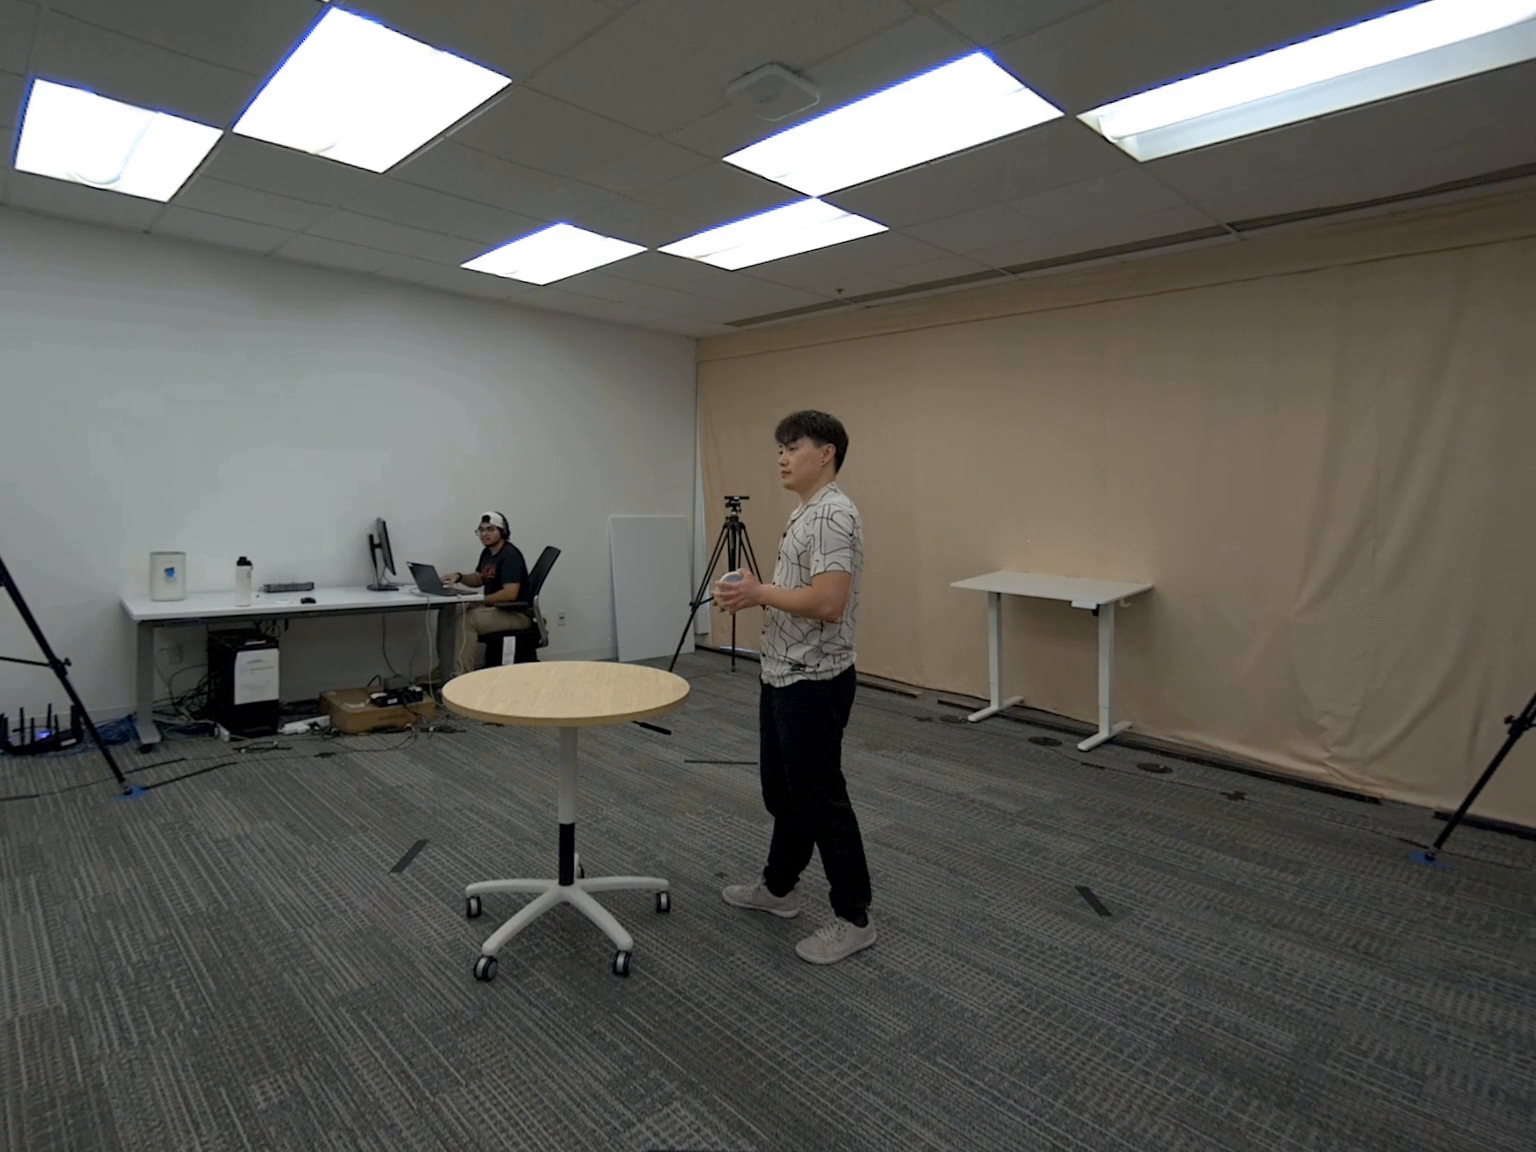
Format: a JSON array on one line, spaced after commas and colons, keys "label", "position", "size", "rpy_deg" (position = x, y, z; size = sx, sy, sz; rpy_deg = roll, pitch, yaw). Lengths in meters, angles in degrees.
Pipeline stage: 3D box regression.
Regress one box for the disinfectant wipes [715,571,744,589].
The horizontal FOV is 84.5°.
[{"label": "disinfectant wipes", "position": [-0.107, 0.052, 2.679], "size": [0.117, 0.118, 0.217], "rpy_deg": [1, -6, -7]}]
